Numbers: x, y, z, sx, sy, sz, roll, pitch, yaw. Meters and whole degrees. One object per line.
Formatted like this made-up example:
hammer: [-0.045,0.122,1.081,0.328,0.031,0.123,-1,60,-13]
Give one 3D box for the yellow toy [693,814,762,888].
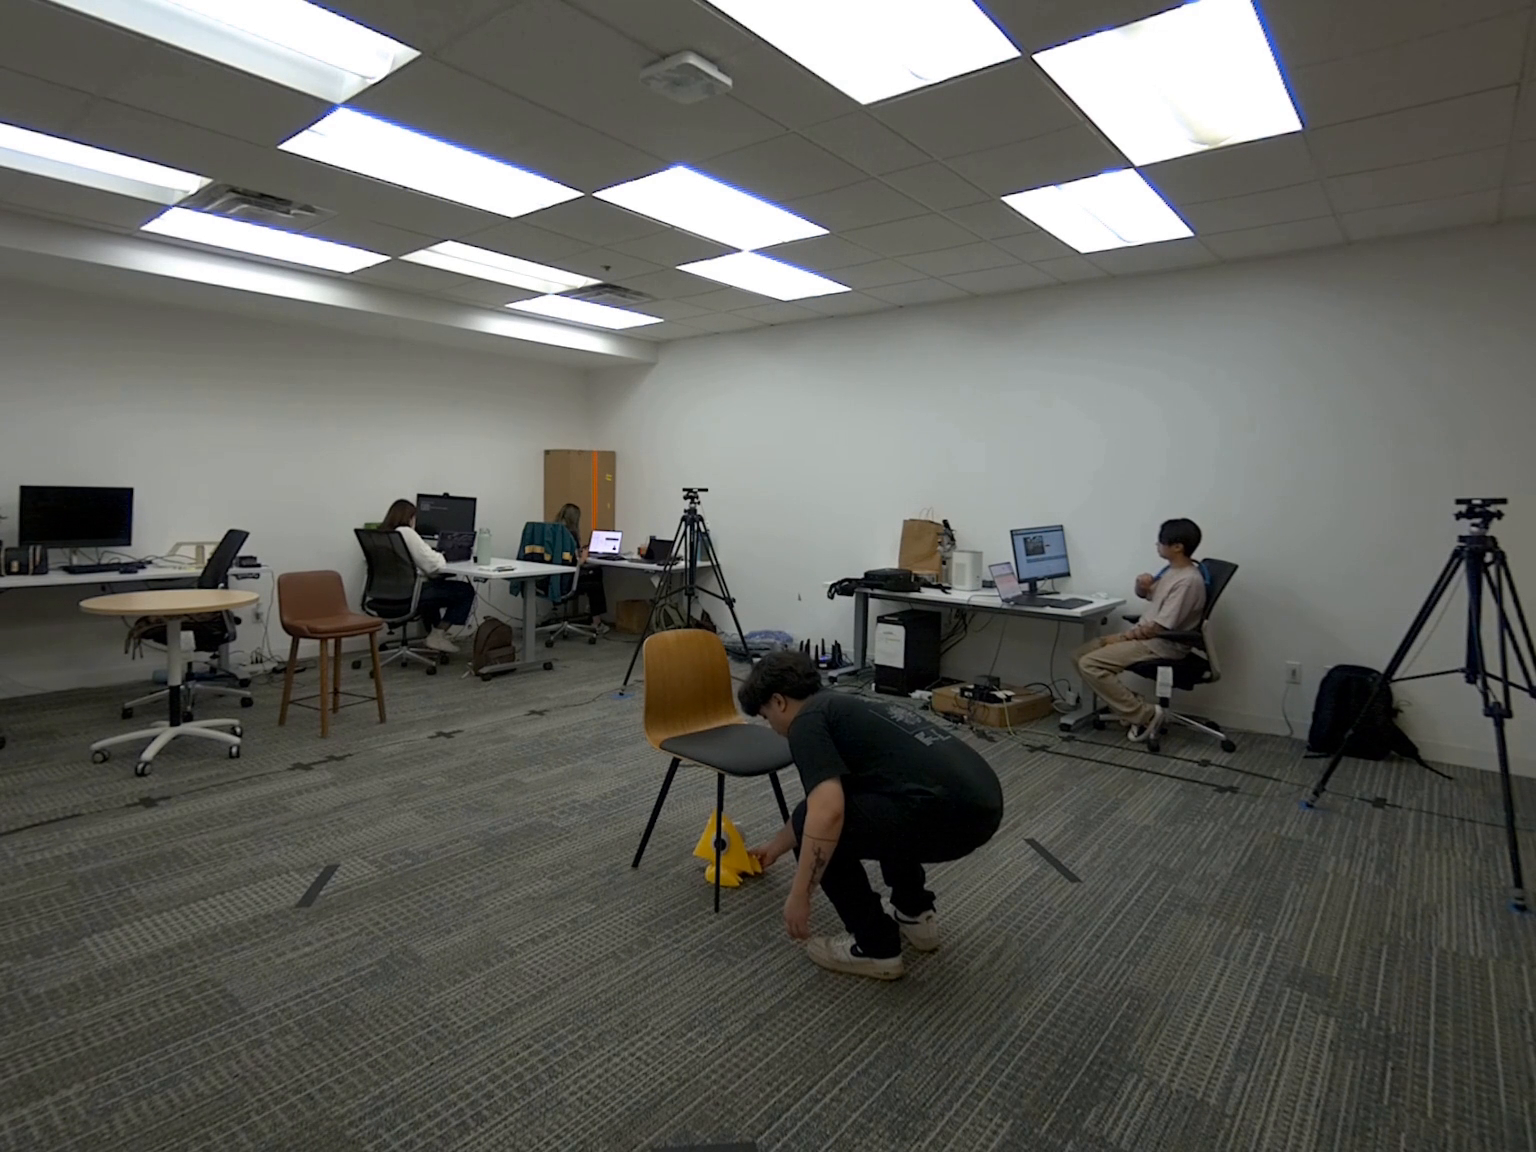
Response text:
yellow toy: [-0.146,0.959,3.067,0.199,0.230,0.199,1,6,41]
